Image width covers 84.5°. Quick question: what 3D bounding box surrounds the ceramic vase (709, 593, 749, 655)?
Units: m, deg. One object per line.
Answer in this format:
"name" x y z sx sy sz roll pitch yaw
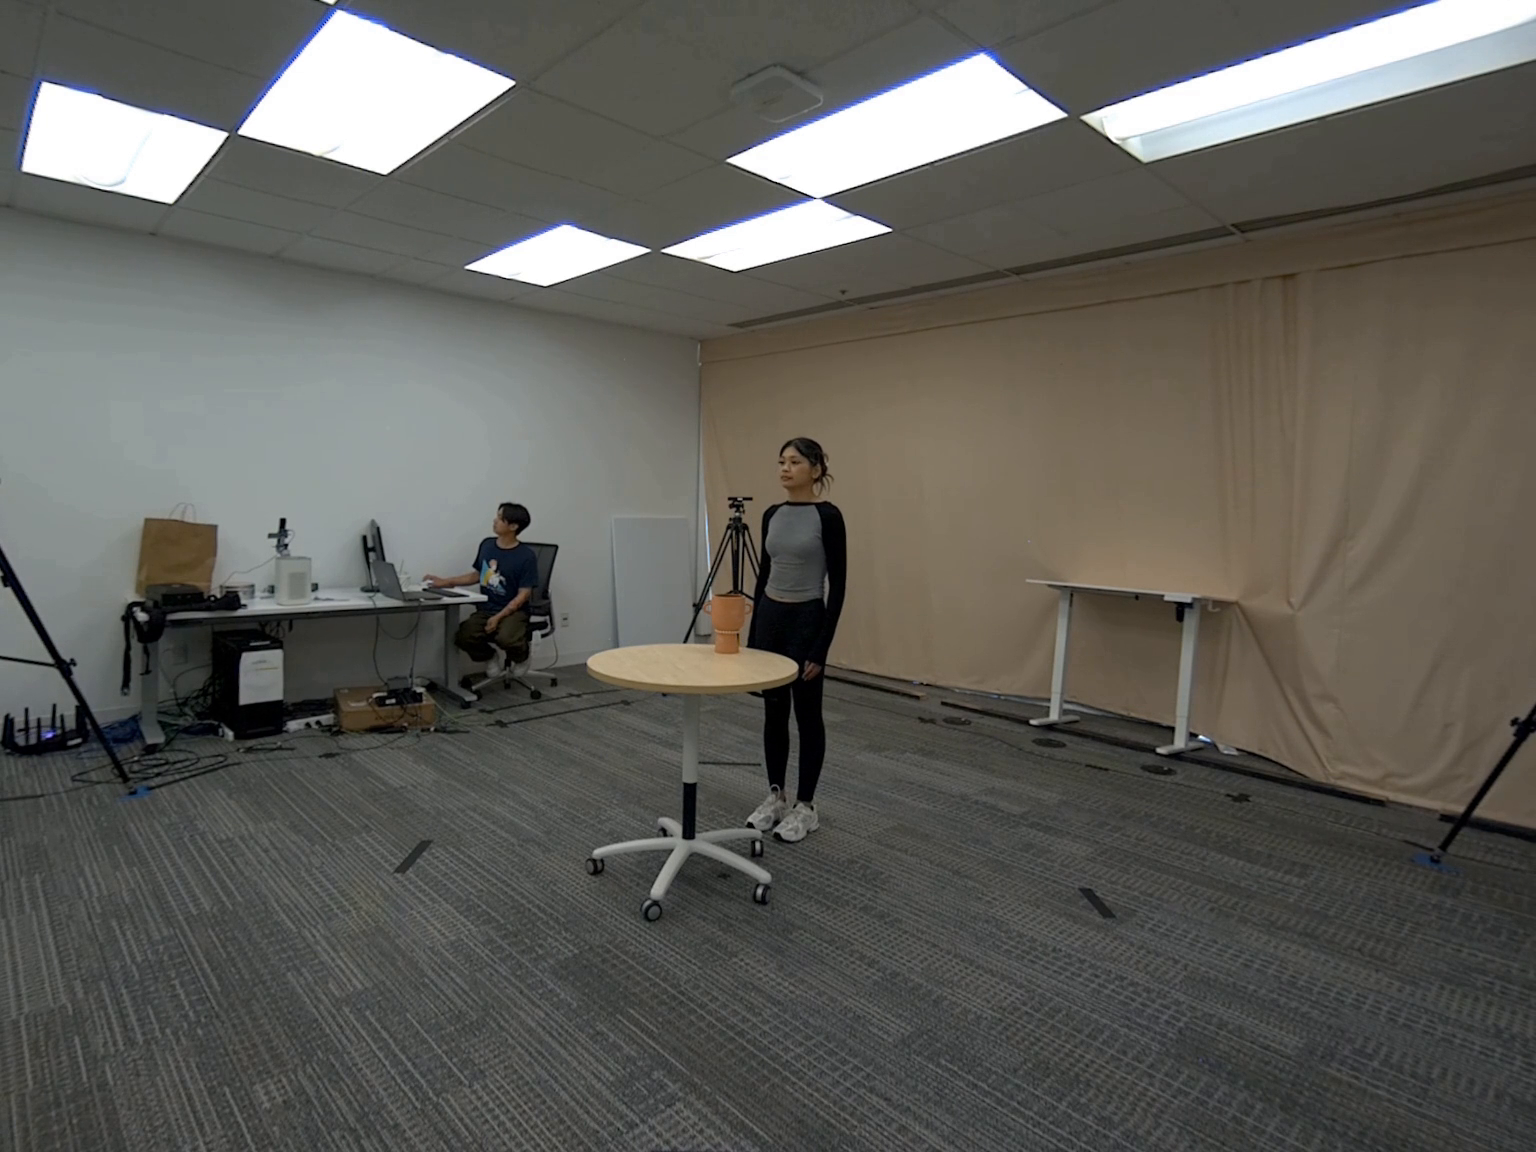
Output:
"ceramic vase" -0.170 0.187 3.292 0.162 0.219 0.132 3 4 30
